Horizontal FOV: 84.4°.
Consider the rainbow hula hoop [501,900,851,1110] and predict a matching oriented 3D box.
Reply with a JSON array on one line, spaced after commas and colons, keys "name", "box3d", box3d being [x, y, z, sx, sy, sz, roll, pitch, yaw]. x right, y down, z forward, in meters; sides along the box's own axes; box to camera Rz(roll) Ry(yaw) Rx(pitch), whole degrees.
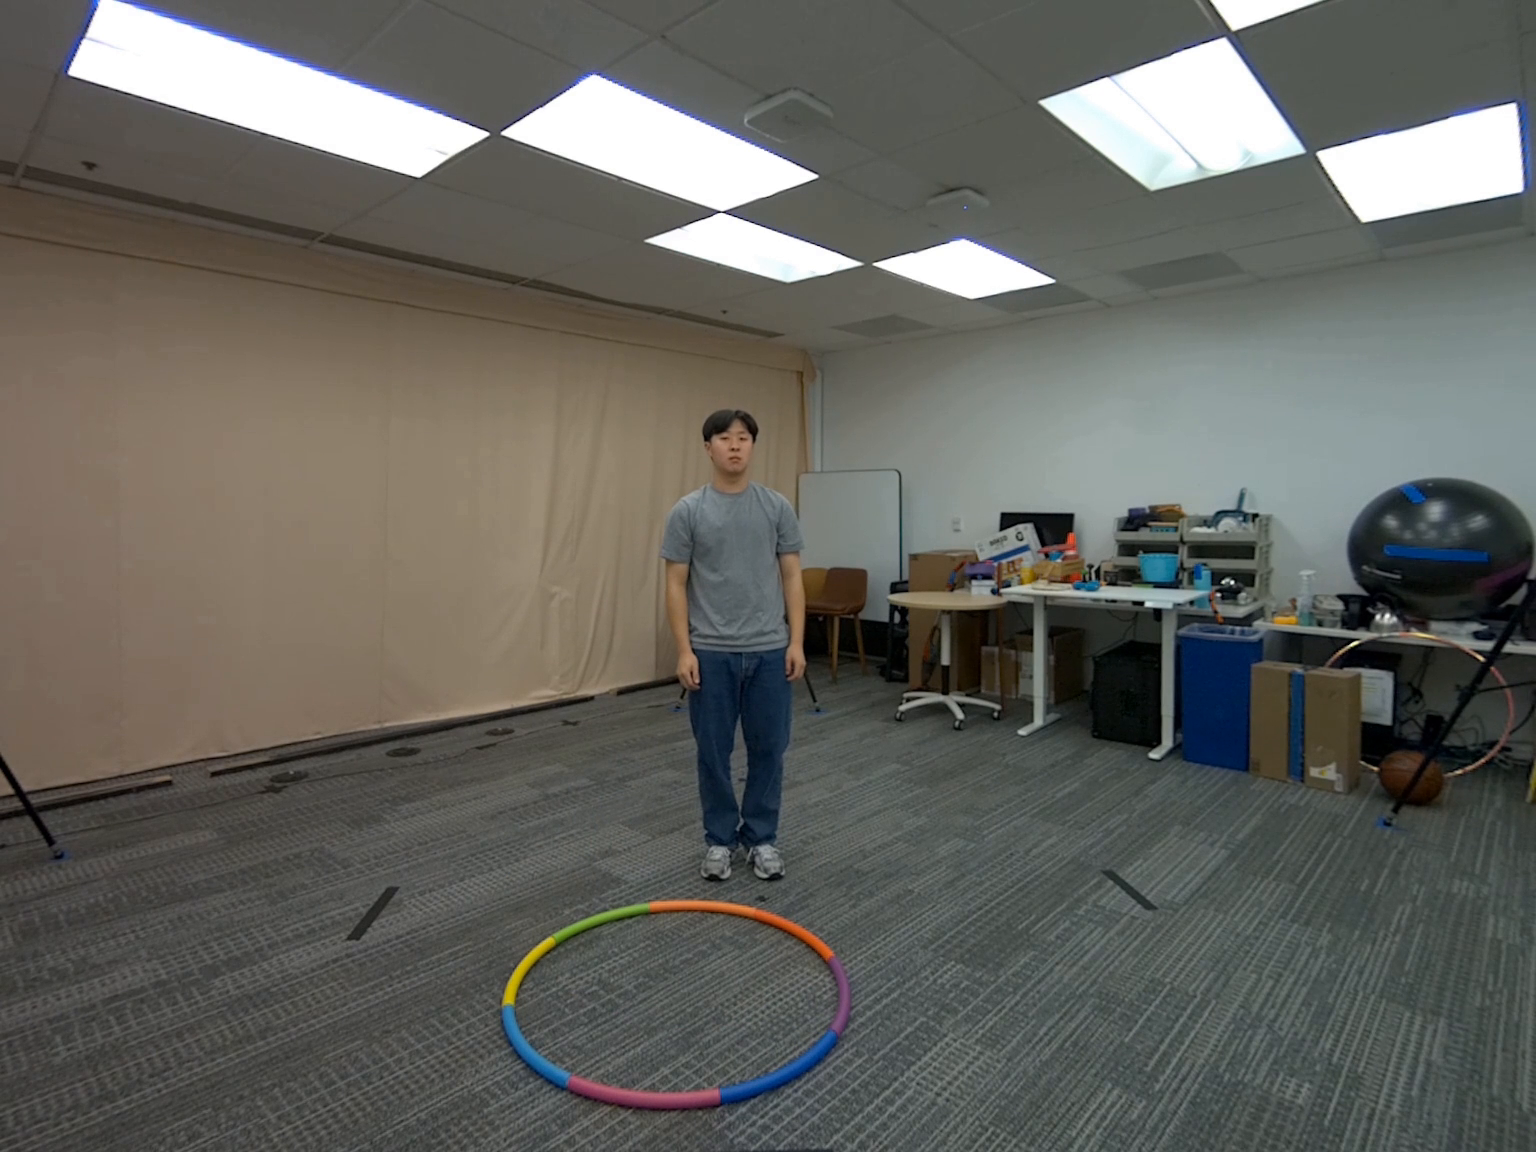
[{"name": "rainbow hula hoop", "box3d": [-0.251, 1.163, 2.430, 0.978, 0.035, 0.982, -1, 5, -2]}]
